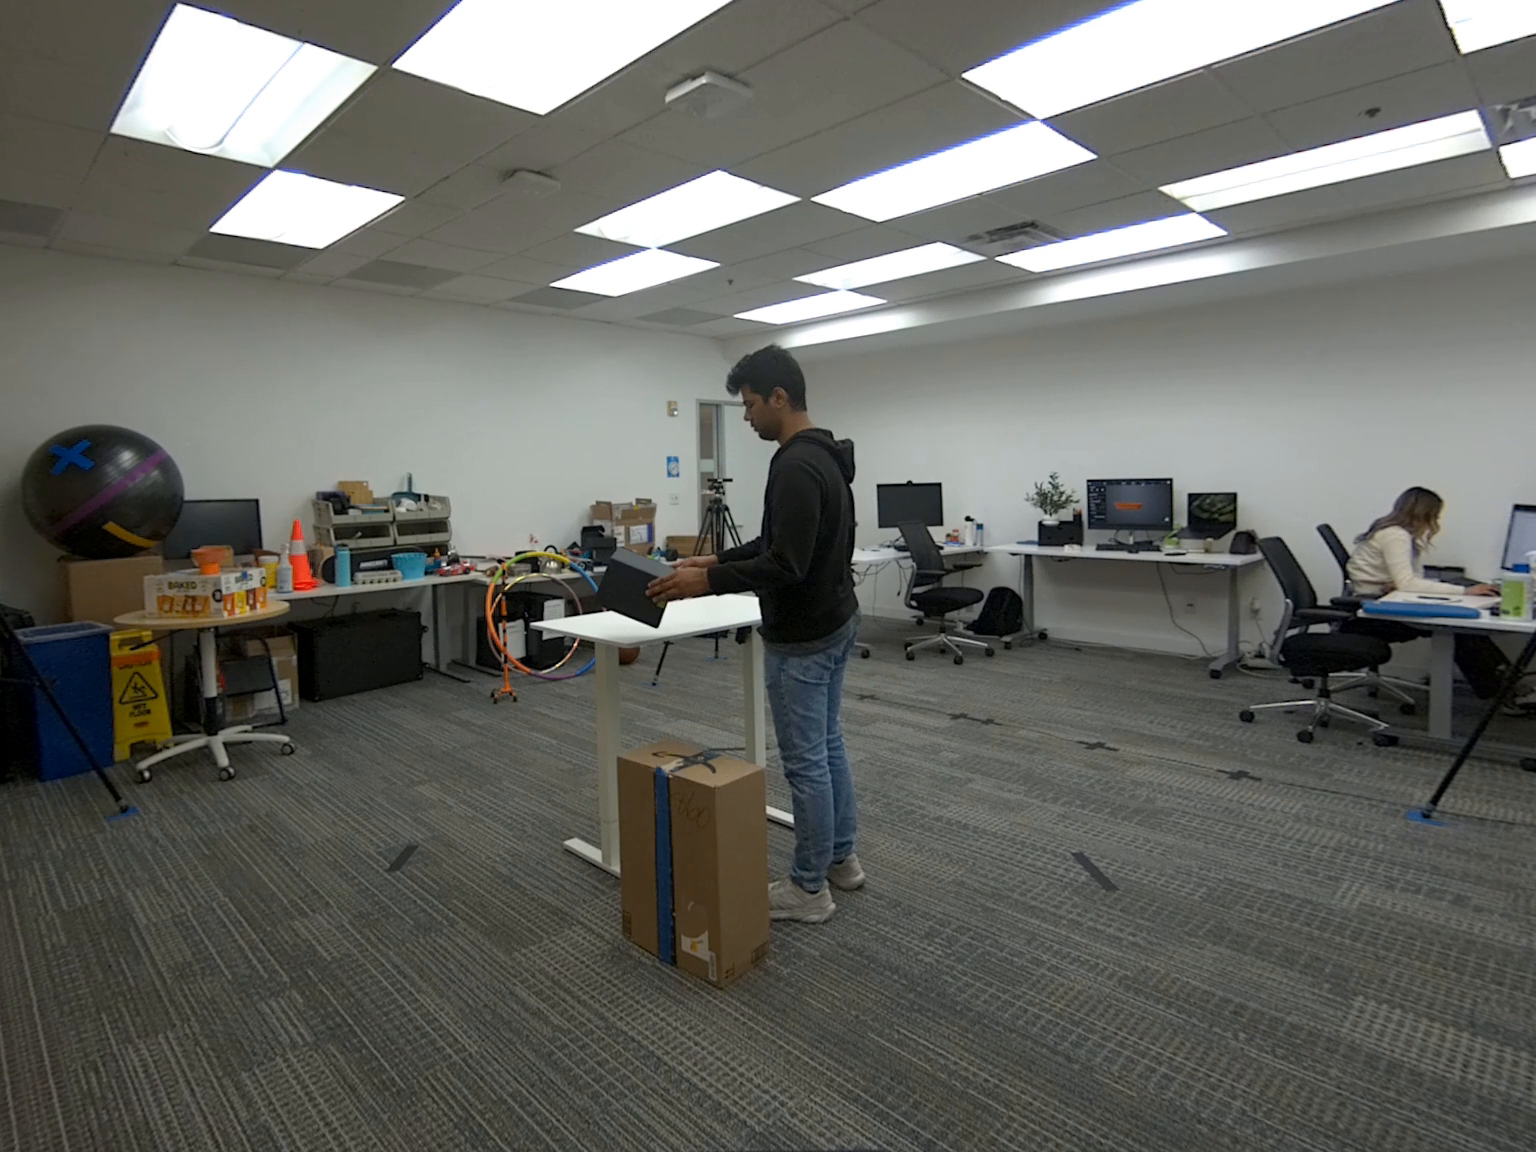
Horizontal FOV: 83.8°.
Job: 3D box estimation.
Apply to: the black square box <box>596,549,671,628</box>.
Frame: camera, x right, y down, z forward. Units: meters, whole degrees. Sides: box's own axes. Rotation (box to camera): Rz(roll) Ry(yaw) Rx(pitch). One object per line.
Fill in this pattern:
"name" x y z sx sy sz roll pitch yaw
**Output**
"black square box" -0.403 0.038 2.719 0.217 0.155 0.229 21 7 -2
